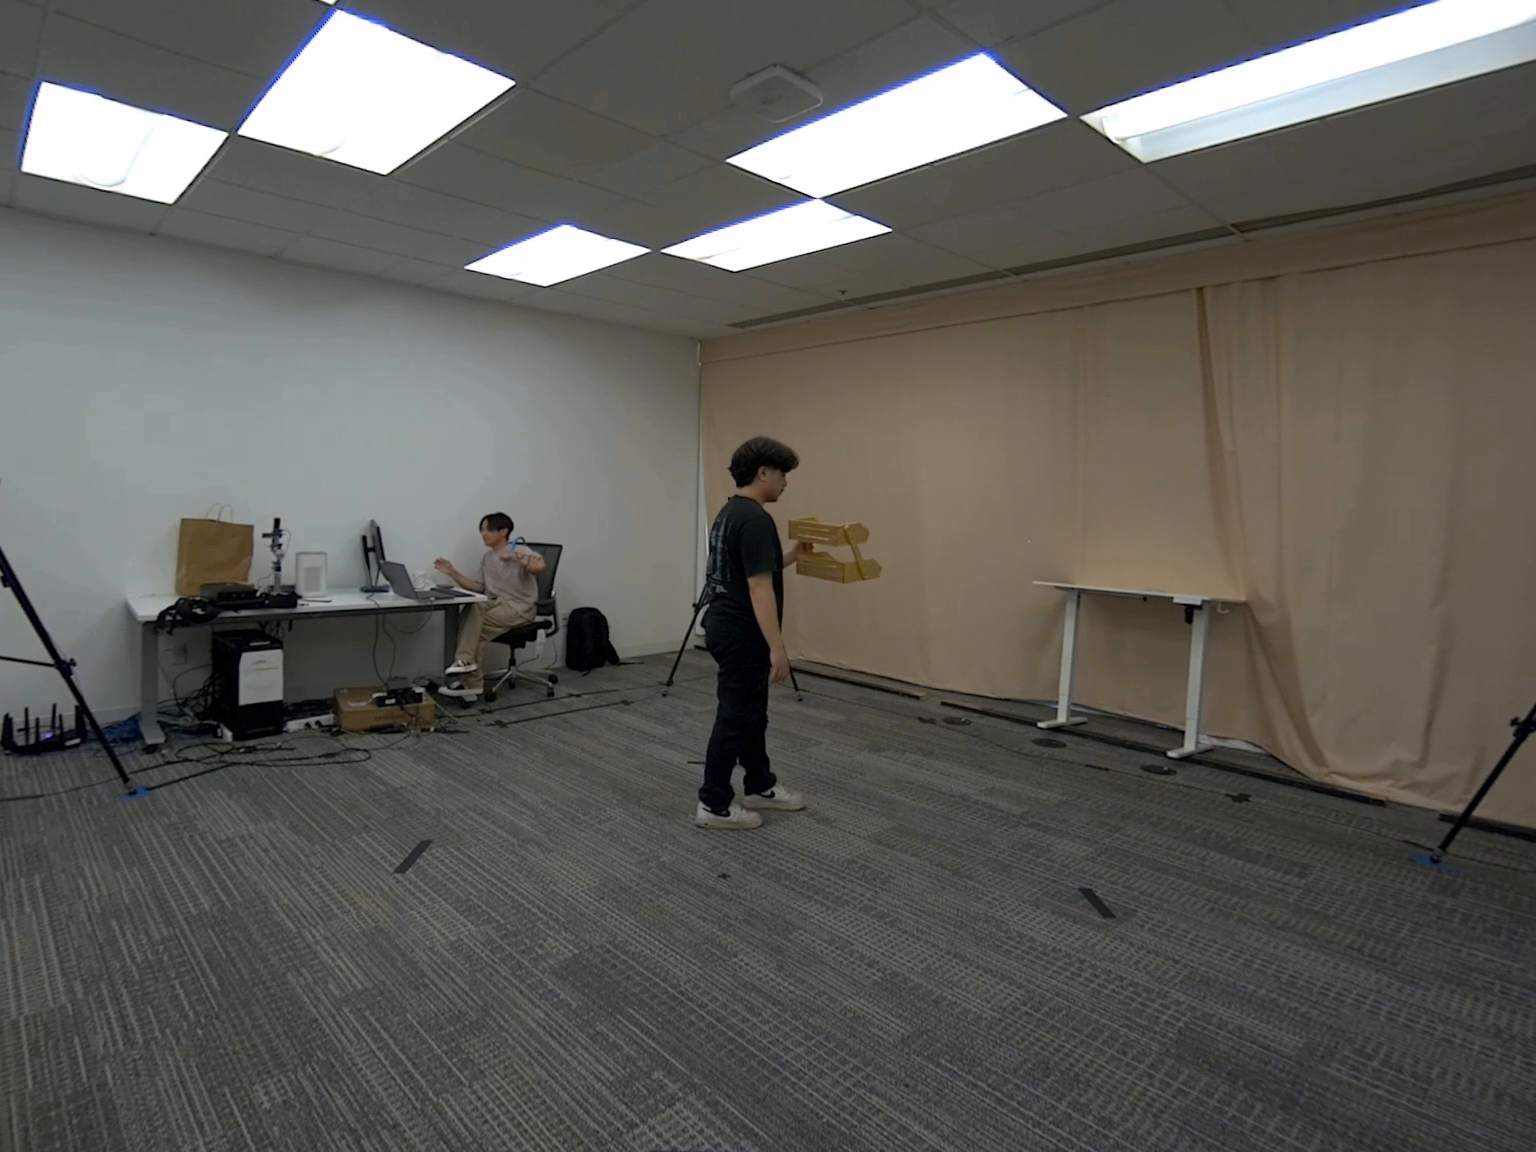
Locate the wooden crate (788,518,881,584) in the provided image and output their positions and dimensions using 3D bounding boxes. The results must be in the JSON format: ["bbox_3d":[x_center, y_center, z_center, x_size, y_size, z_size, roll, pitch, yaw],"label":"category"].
[{"bbox_3d":[0.295,-0.135,3.829,0.296,0.271,0.333,-10,14,-41],"label":"wooden crate"}]
